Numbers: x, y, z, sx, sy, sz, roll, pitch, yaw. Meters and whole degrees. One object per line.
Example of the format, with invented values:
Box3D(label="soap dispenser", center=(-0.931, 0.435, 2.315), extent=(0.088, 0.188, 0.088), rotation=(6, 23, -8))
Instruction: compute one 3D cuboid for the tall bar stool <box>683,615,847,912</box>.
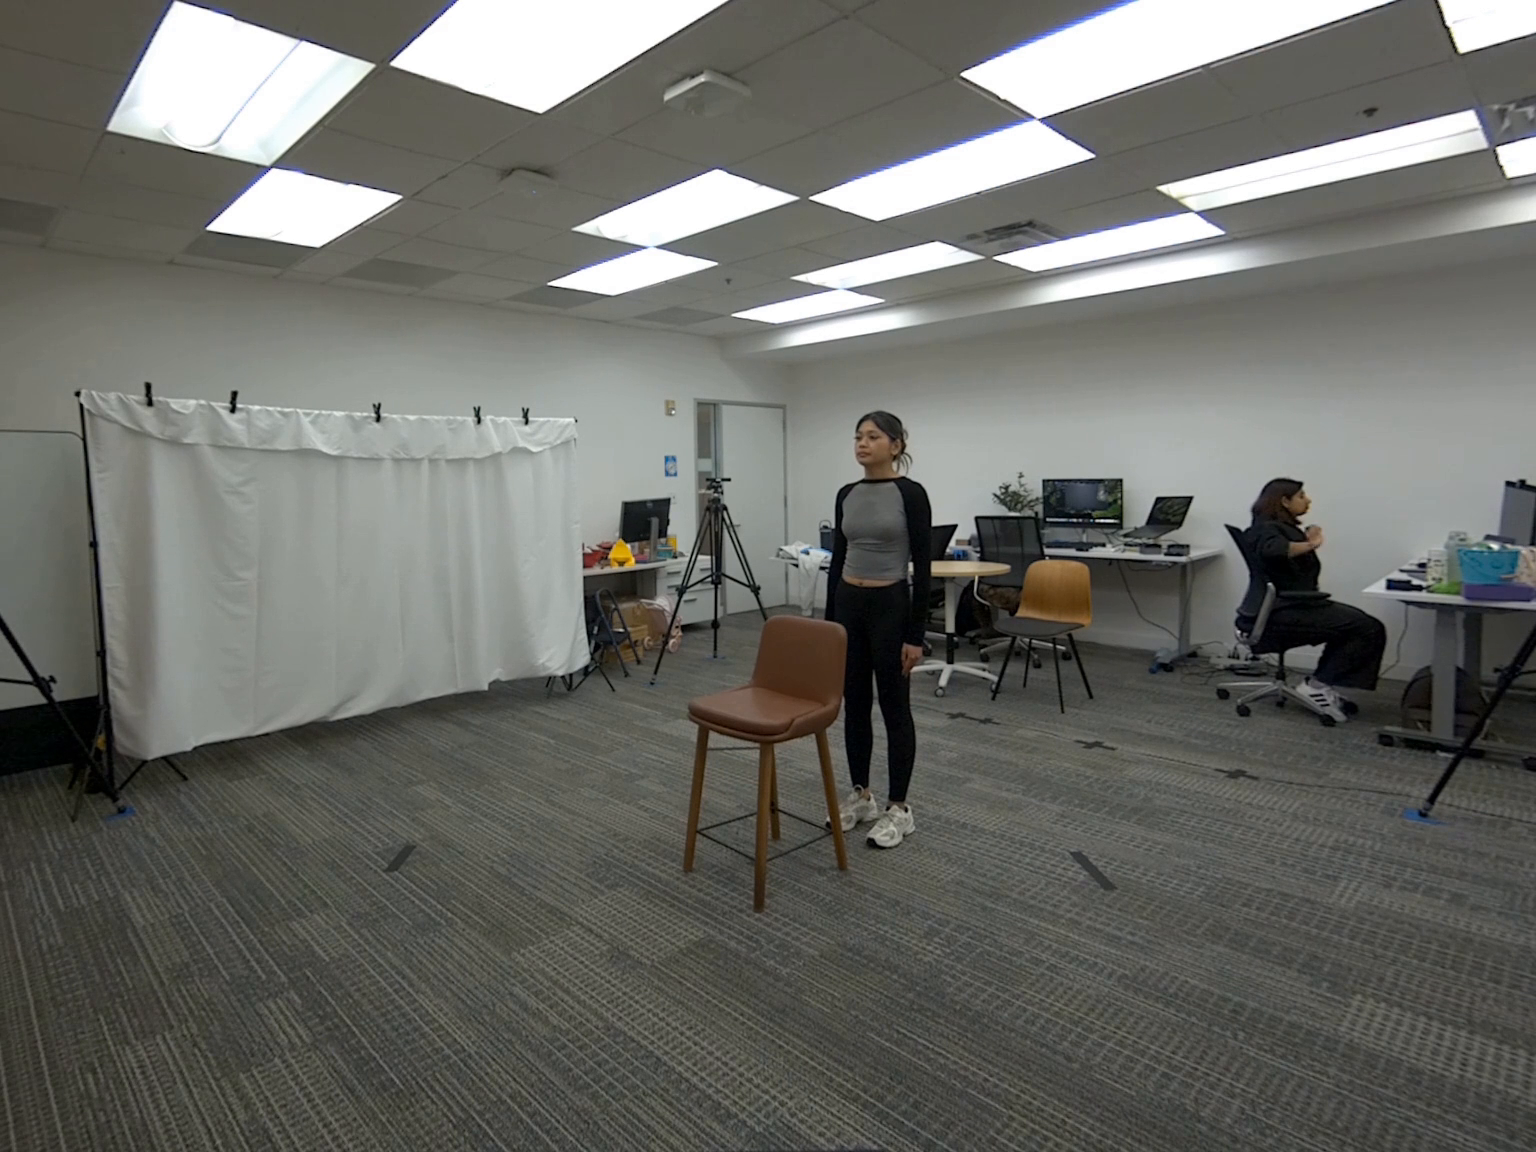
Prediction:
Box3D(label="tall bar stool", center=(0.002, 0.614, 3.018), extent=(0.454, 0.887, 0.471), rotation=(-1, 4, -41))
